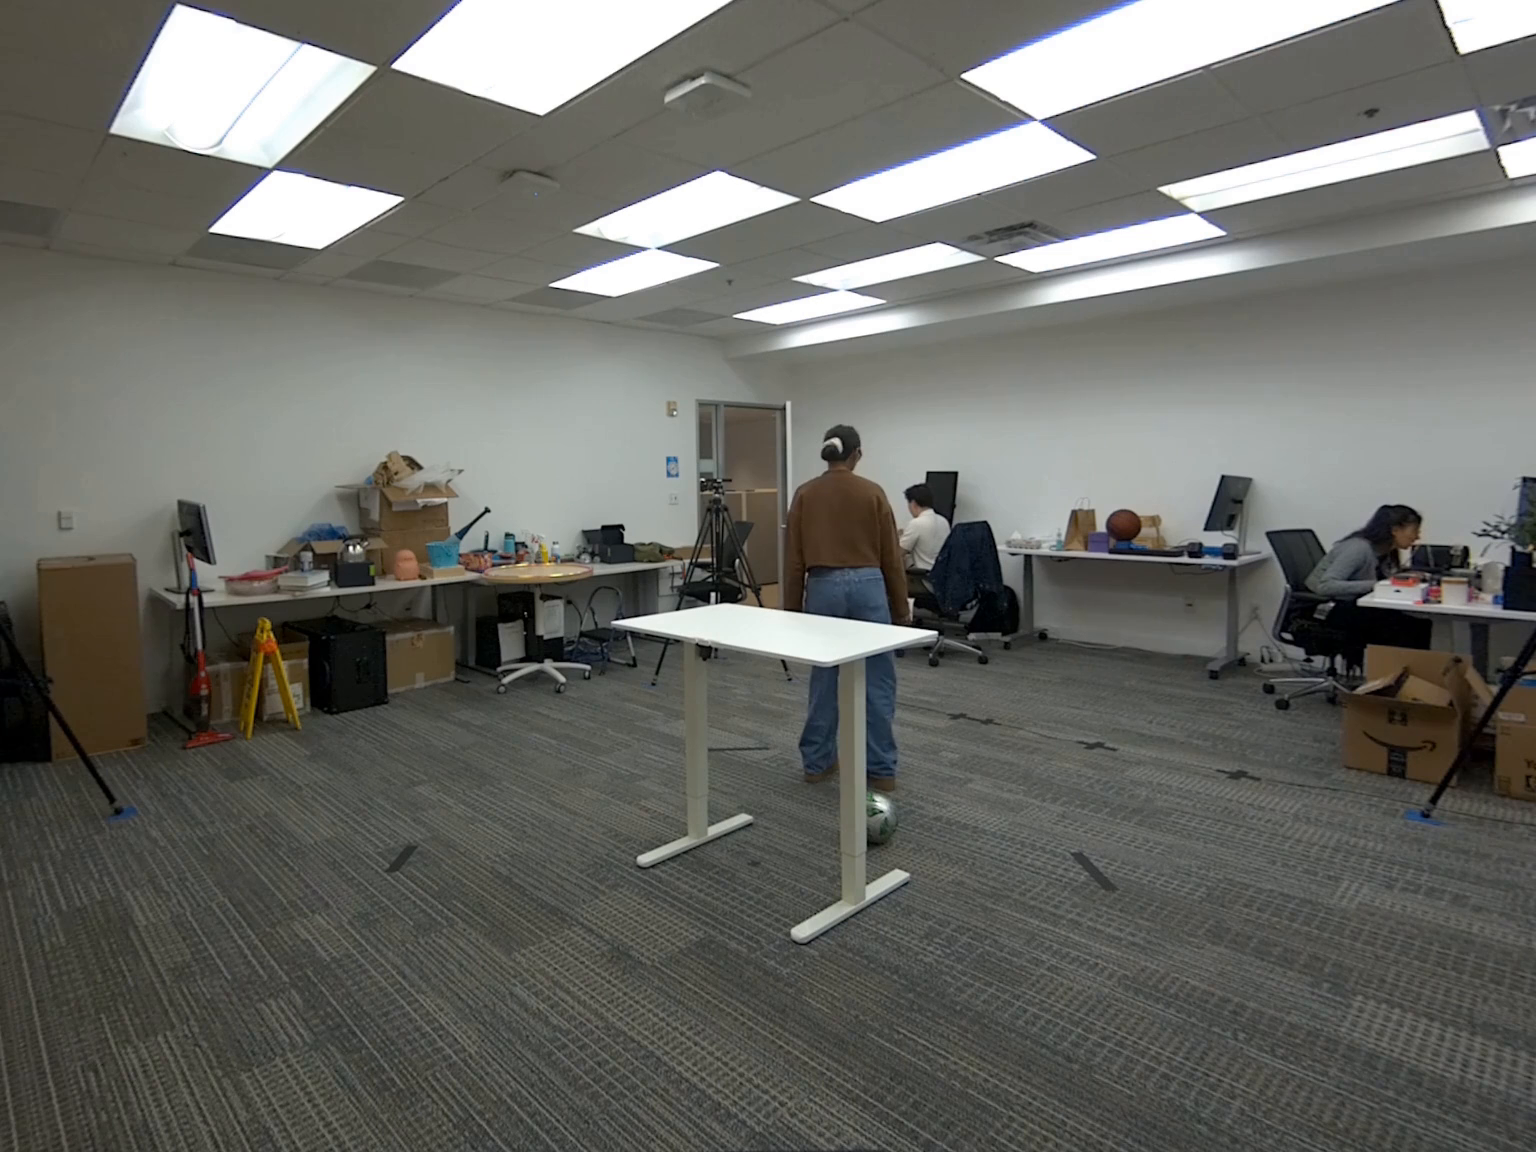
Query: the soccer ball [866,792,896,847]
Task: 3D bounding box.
[{"bbox_3d":[0.408,0.930,3.278,0.187,0.187,0.188,-1,5,-2],"label":"soccer ball"}]
